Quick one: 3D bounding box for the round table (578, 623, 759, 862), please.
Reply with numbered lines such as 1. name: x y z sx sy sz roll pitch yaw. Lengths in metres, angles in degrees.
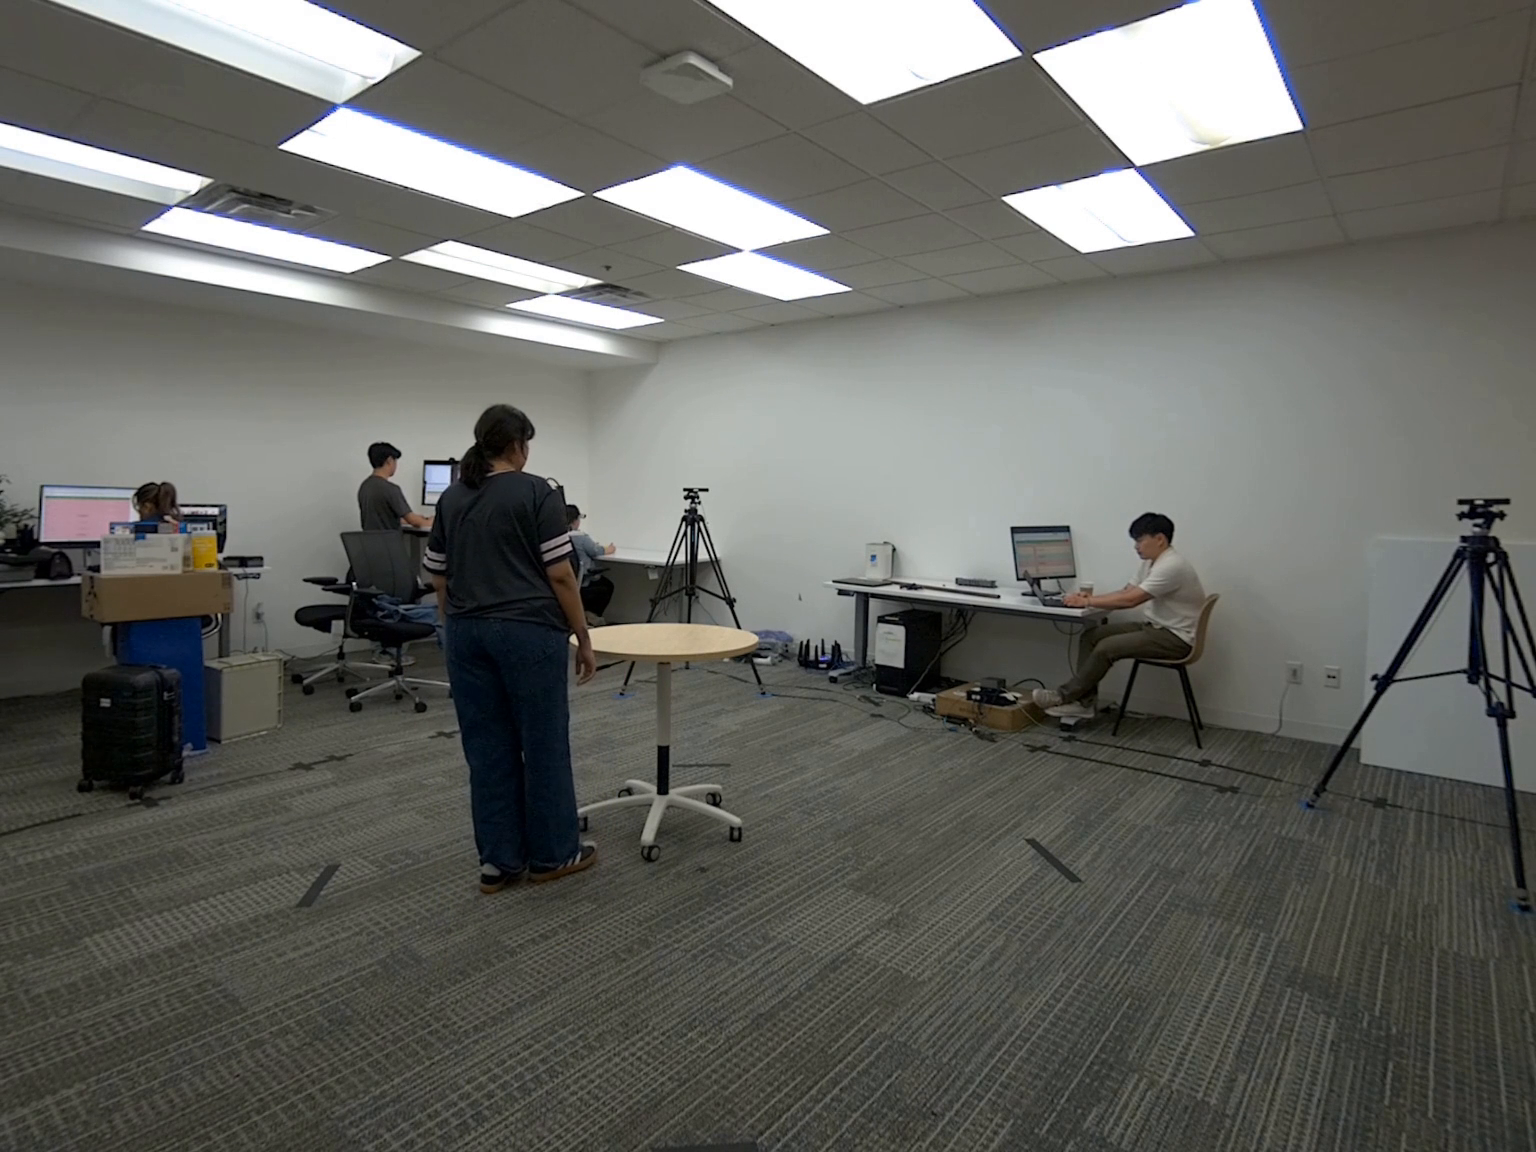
1. round table: -0.430 0.642 3.480 0.763 0.792 0.767 1 4 -2
